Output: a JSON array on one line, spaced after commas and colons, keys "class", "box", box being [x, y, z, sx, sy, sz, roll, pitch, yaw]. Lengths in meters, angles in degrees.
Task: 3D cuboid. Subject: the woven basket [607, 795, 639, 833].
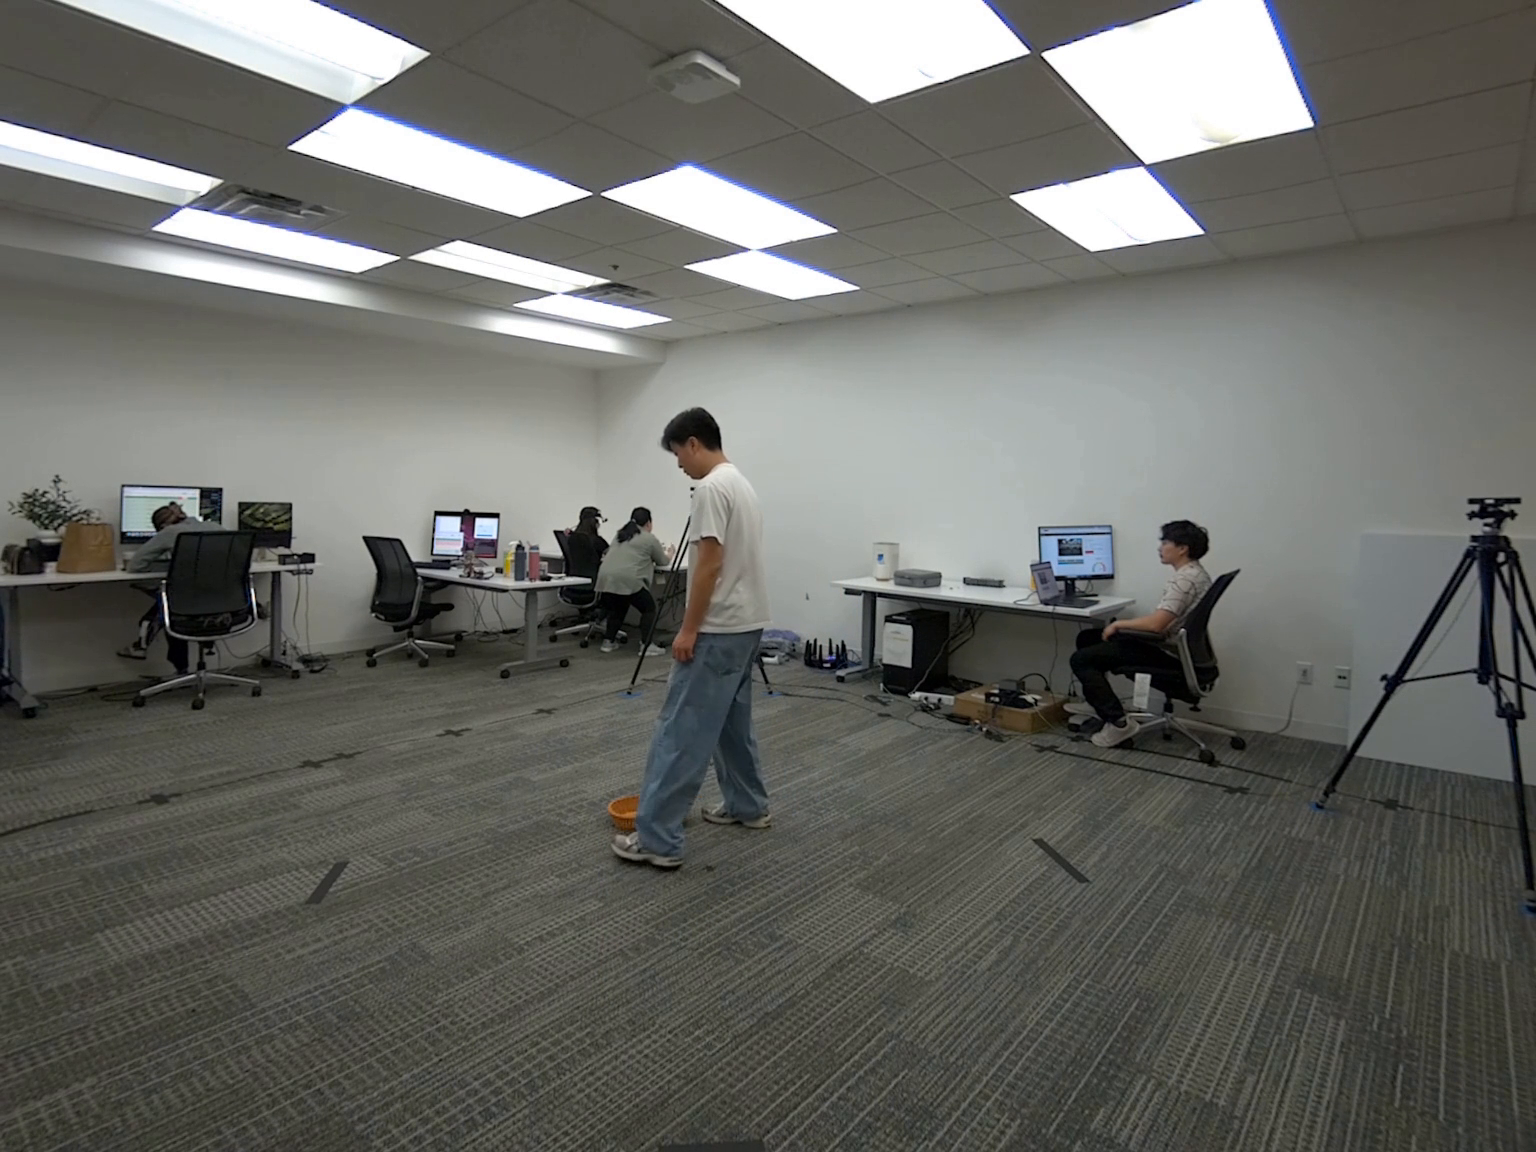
[{"class": "woven basket", "box": [-0.506, 0.977, 3.541, 0.343, 0.073, 0.258, -1, 6, -20]}]
